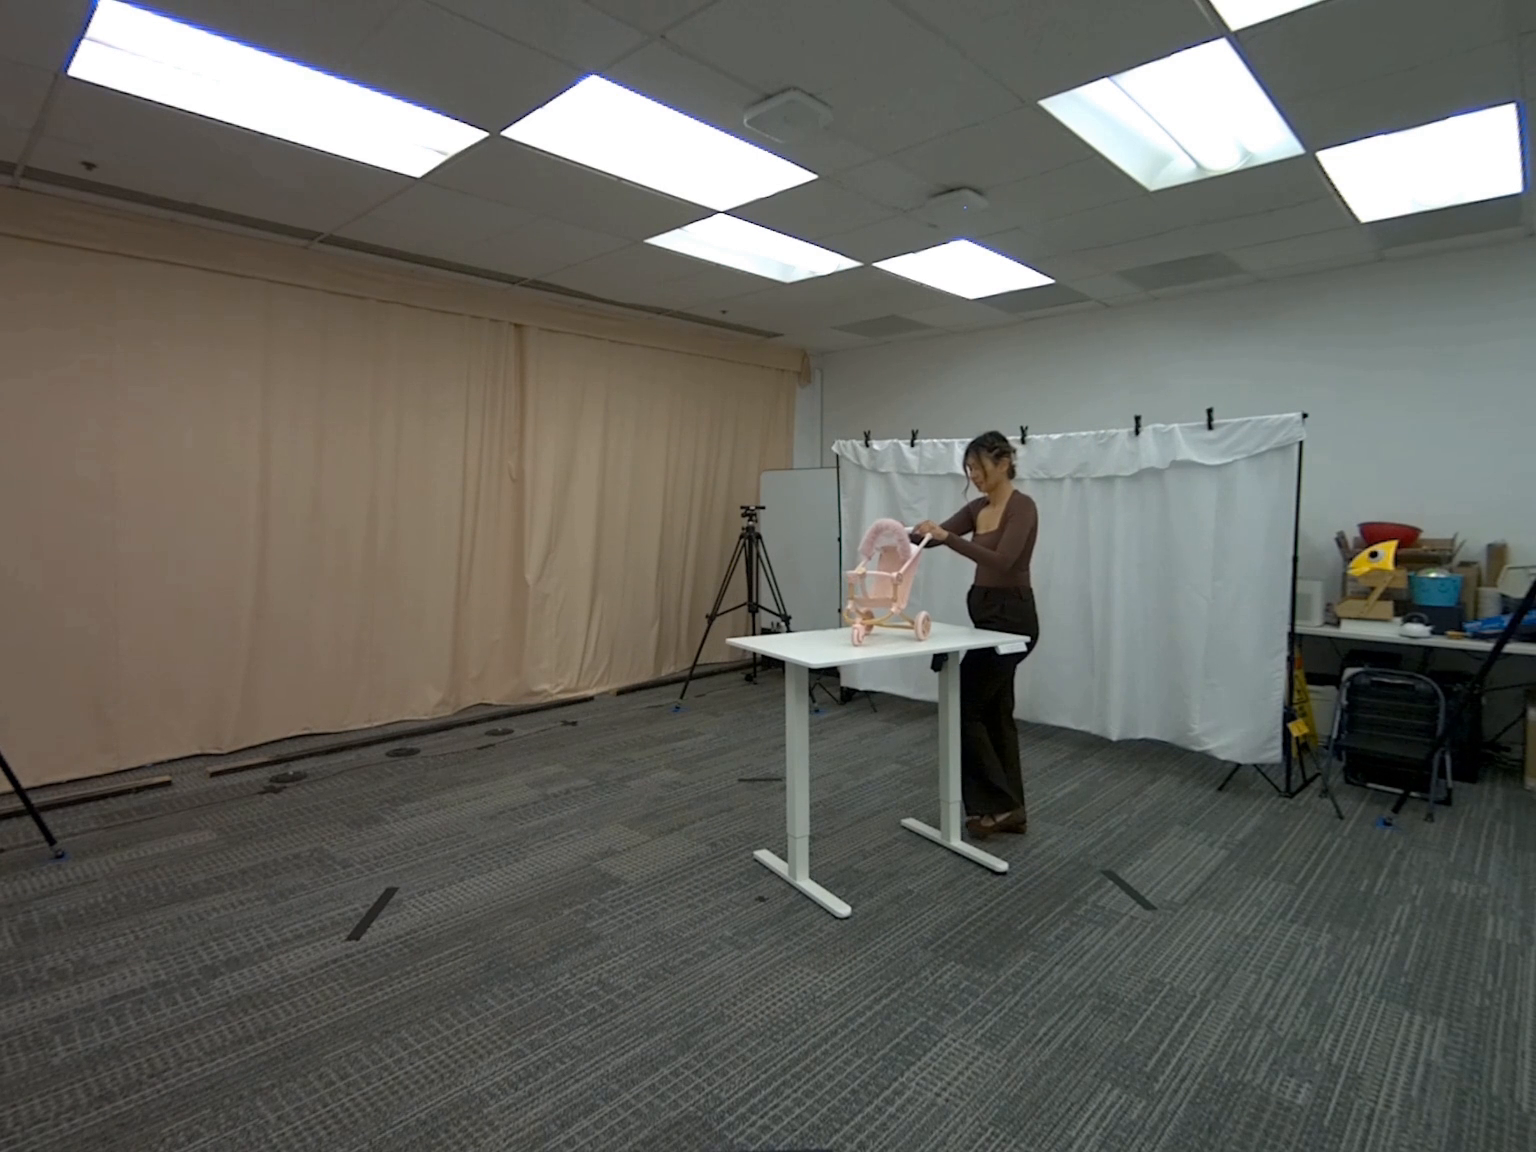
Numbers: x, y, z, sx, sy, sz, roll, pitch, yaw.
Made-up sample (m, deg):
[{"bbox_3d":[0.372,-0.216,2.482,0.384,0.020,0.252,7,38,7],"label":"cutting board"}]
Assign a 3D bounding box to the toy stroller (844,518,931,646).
[{"bbox_3d":[0.445,0.021,3.196,0.290,0.537,0.329,0,-13,43],"label":"toy stroller"}]
